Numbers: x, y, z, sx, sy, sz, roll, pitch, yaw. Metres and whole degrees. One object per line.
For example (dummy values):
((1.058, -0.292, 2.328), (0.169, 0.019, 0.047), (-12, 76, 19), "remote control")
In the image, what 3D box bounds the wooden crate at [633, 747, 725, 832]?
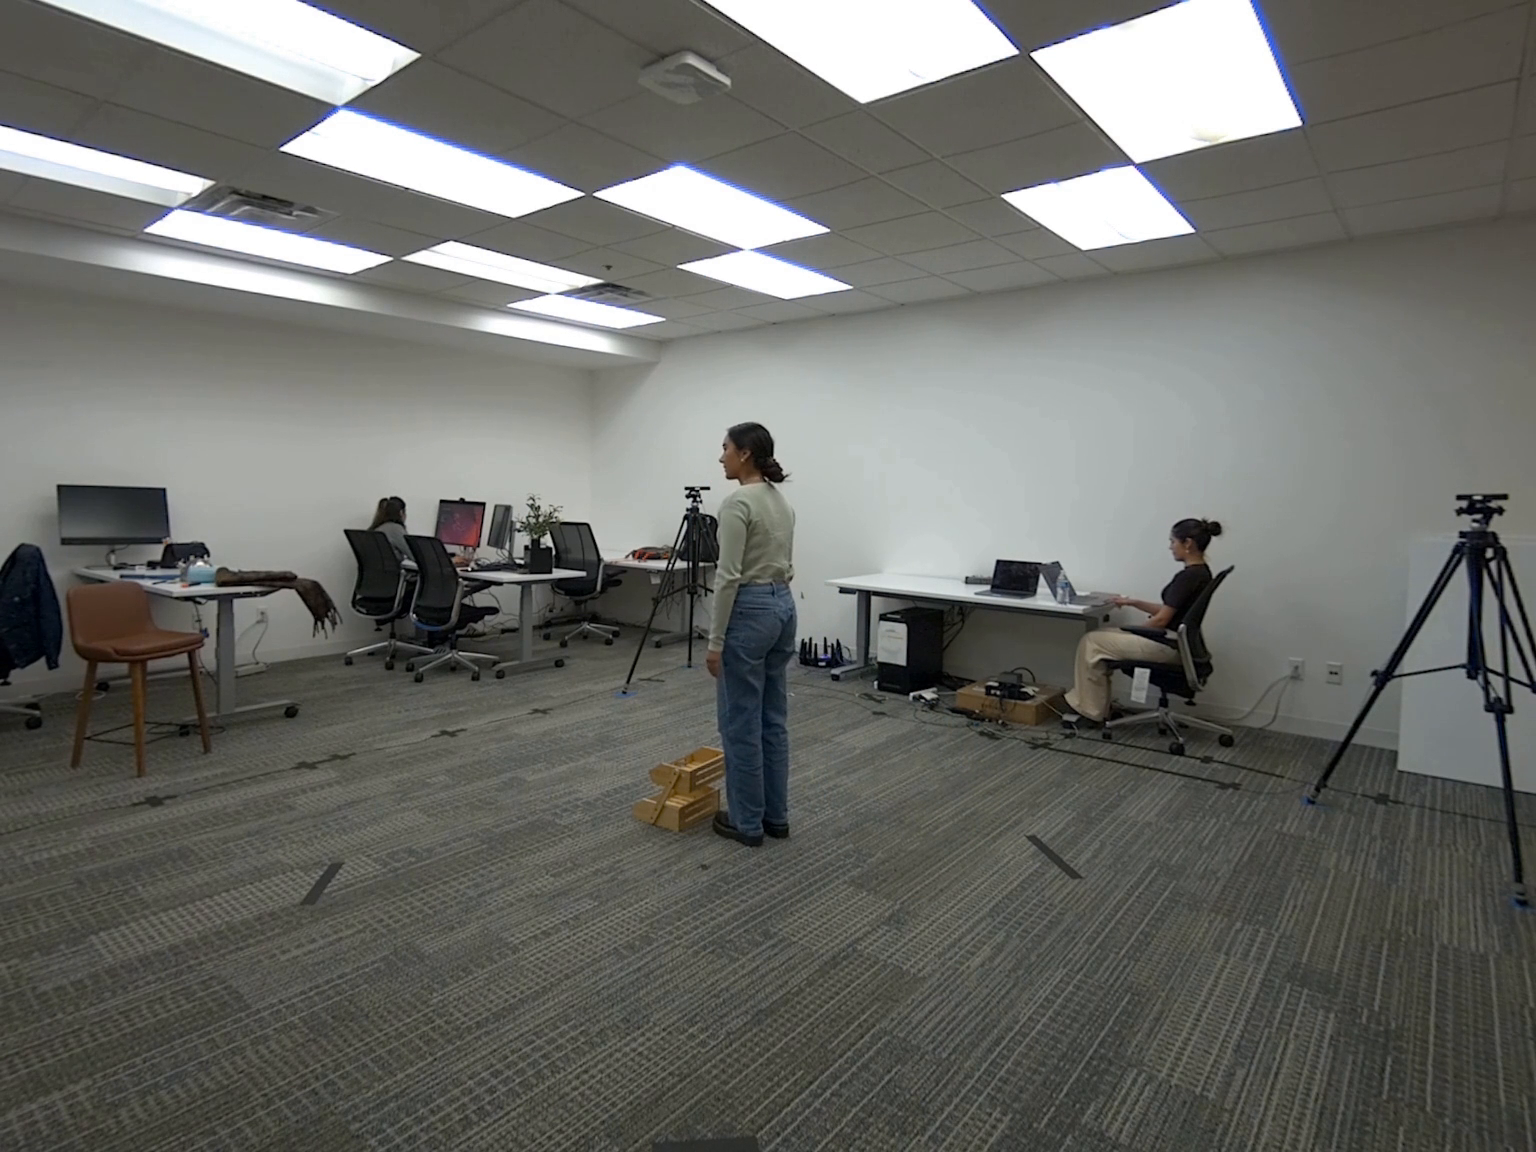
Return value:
((-0.380, 0.878, 3.611), (0.311, 0.272, 0.316), (5, 6, 33), "wooden crate")
